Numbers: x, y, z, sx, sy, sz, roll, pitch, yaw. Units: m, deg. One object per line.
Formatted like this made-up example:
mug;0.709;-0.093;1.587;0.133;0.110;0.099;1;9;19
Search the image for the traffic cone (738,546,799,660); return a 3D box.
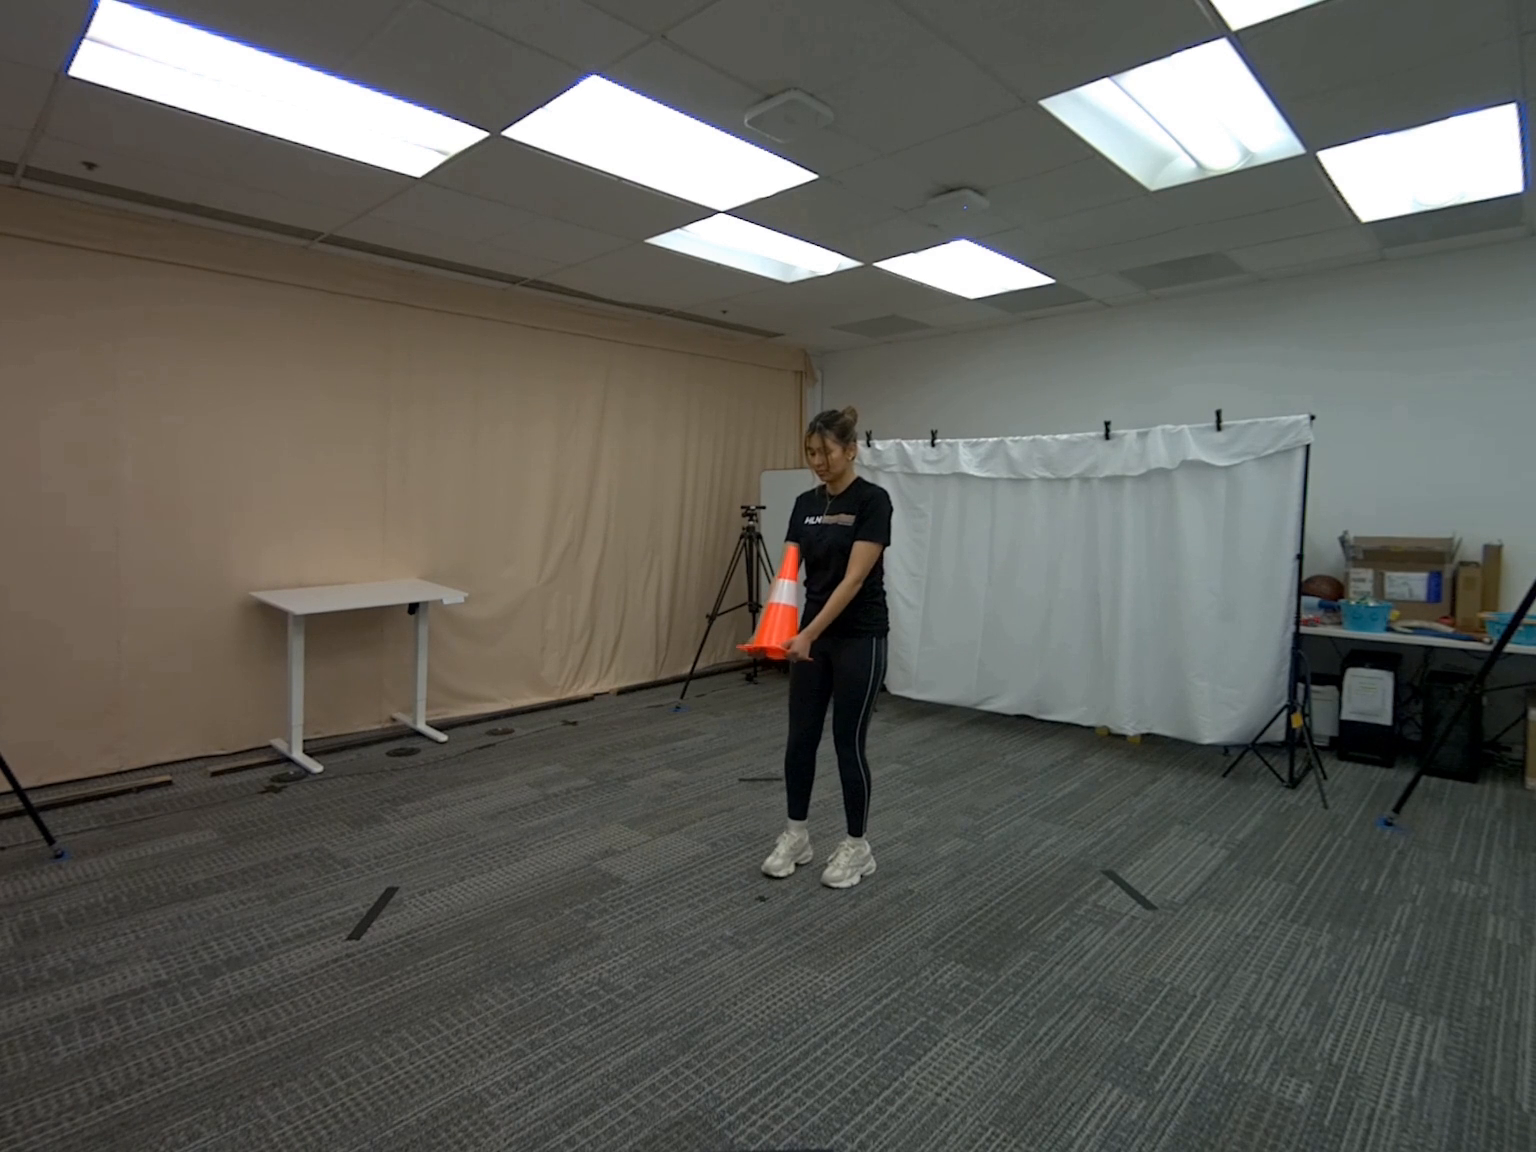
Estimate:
traffic cone;0.068;0.086;2.944;0.199;0.385;0.209;20;-15;-30
